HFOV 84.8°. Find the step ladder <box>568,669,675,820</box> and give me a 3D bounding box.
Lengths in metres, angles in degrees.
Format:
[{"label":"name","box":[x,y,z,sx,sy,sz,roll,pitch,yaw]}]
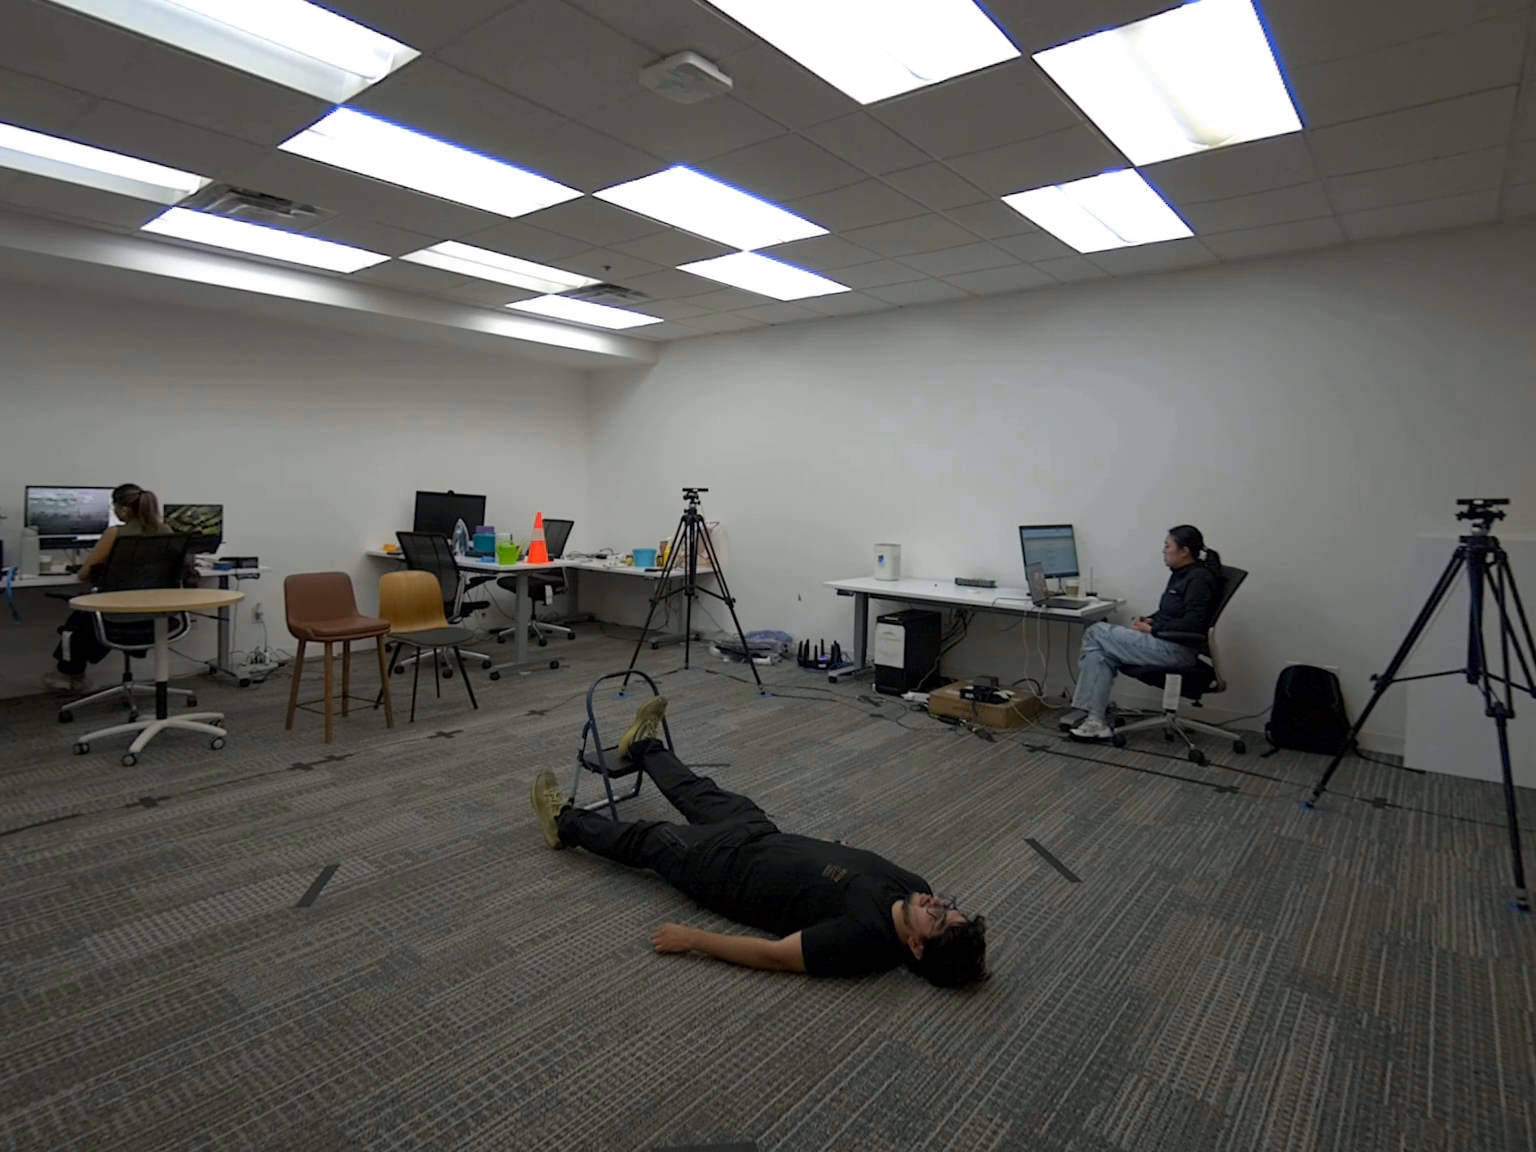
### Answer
[{"label":"step ladder","box":[-0.598,0.713,3.601,0.361,0.605,0.418,3,3,38]}]
